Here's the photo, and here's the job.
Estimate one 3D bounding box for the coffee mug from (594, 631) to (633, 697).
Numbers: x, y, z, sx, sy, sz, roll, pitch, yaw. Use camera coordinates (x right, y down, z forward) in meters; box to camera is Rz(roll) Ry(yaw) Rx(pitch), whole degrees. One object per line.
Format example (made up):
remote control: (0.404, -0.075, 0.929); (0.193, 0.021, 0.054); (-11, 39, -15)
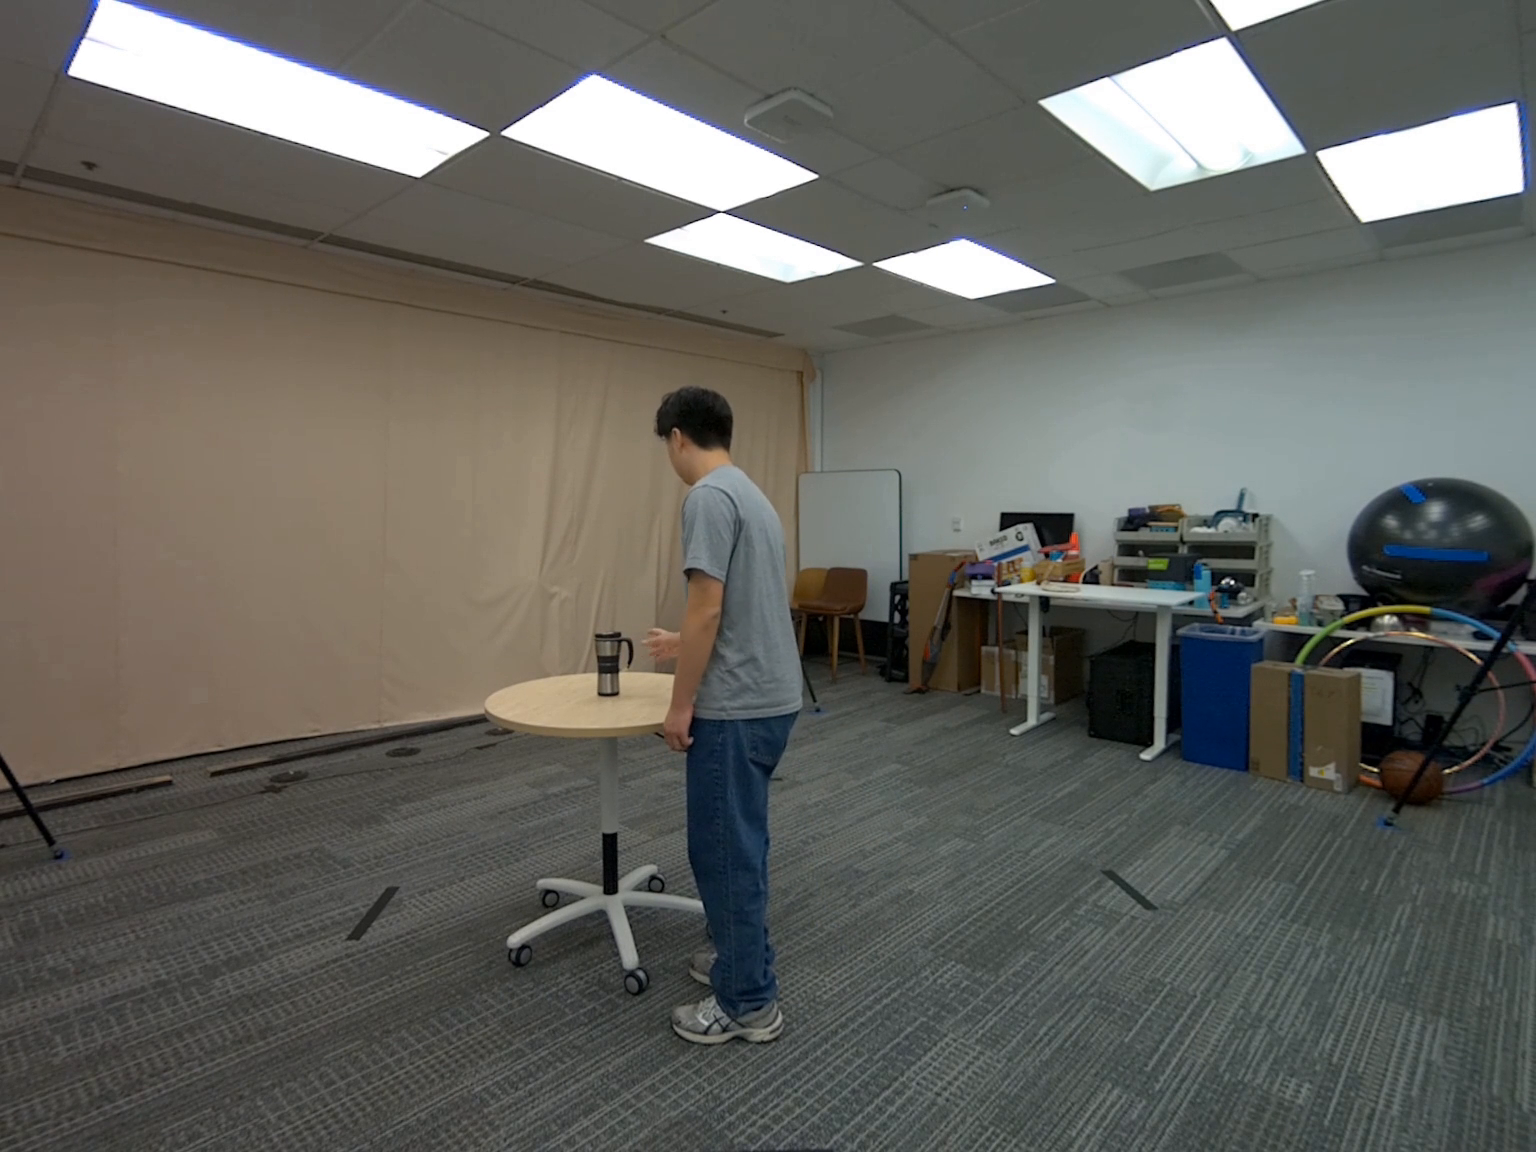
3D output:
coffee mug: (-0.500, 0.285, 2.709); (0.125, 0.203, 0.085); (-5, -3, 33)
